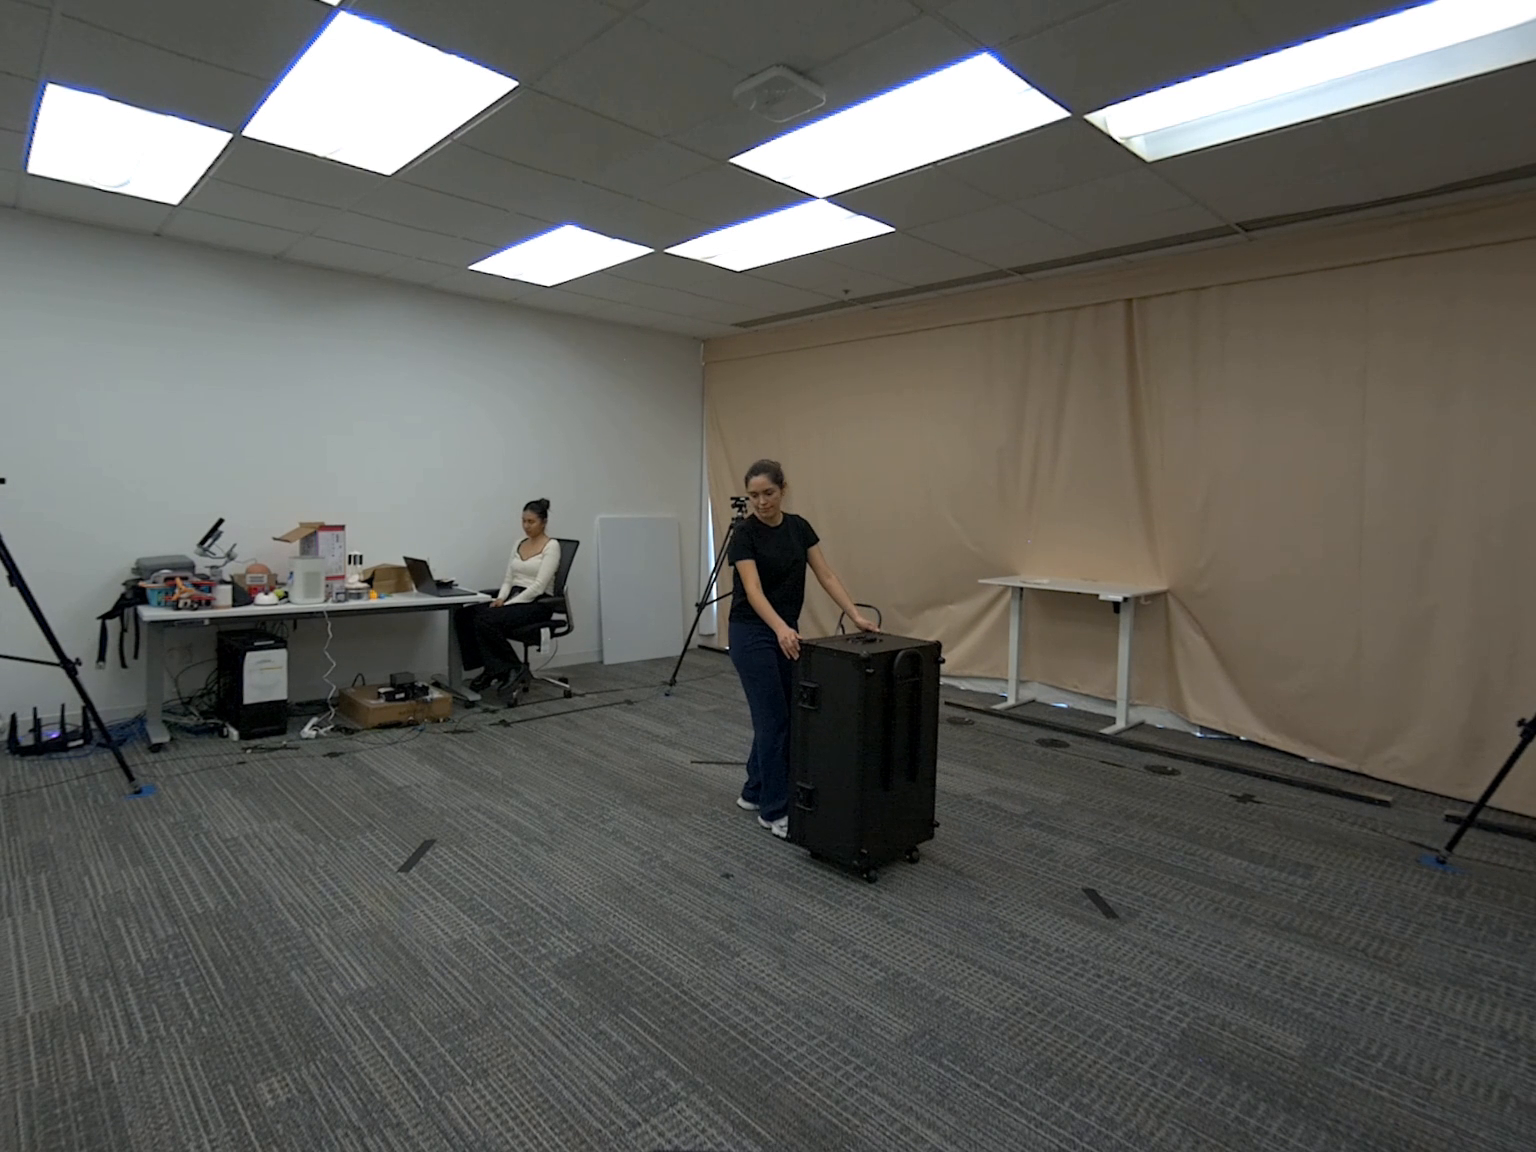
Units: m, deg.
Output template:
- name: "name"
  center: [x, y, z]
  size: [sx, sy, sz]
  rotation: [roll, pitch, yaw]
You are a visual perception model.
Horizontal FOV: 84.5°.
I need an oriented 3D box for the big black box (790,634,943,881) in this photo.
- name: "big black box"
  center: [0.387, 0.680, 3.261]
  size: [0.509, 0.859, 0.406]
  rotation: [-2, 5, -44]
